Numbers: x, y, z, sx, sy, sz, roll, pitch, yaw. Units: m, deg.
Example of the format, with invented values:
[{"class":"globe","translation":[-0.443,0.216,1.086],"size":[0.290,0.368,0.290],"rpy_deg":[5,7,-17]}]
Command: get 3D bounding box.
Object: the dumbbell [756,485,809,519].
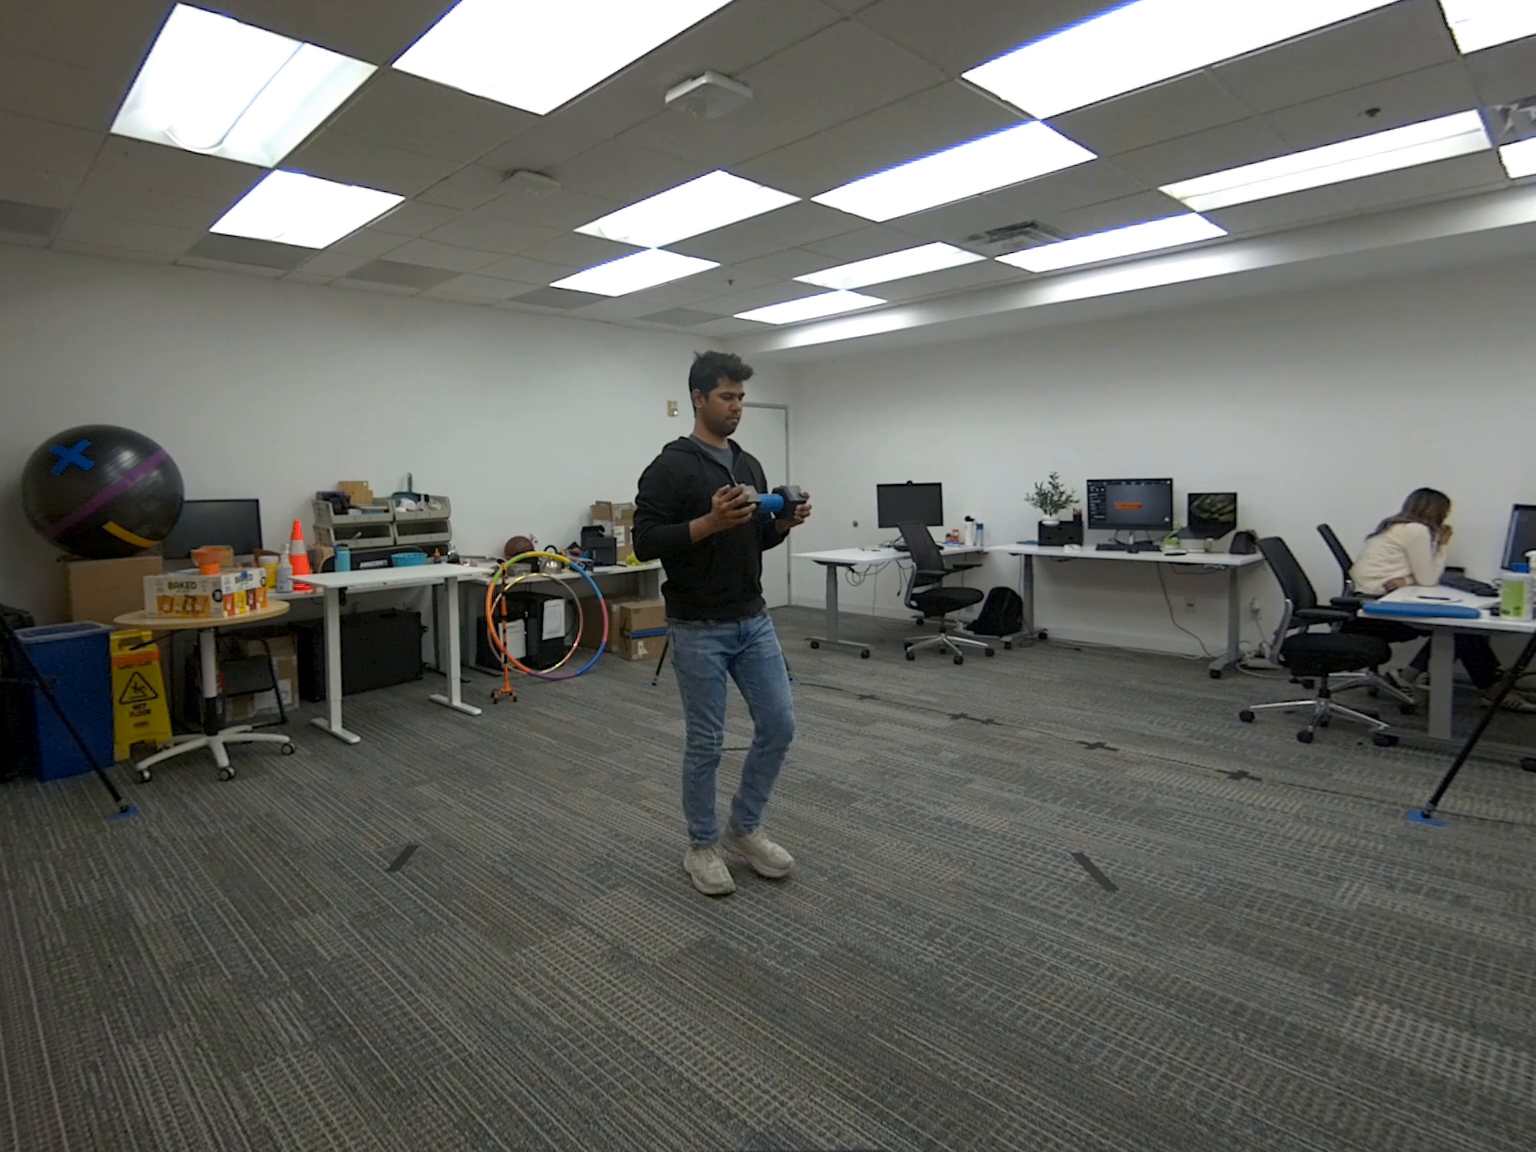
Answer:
[{"class":"dumbbell","translation":[-0.021,-0.231,2.771],"size":[0.286,0.121,0.113],"rpy_deg":[-5,29,-42]}]
